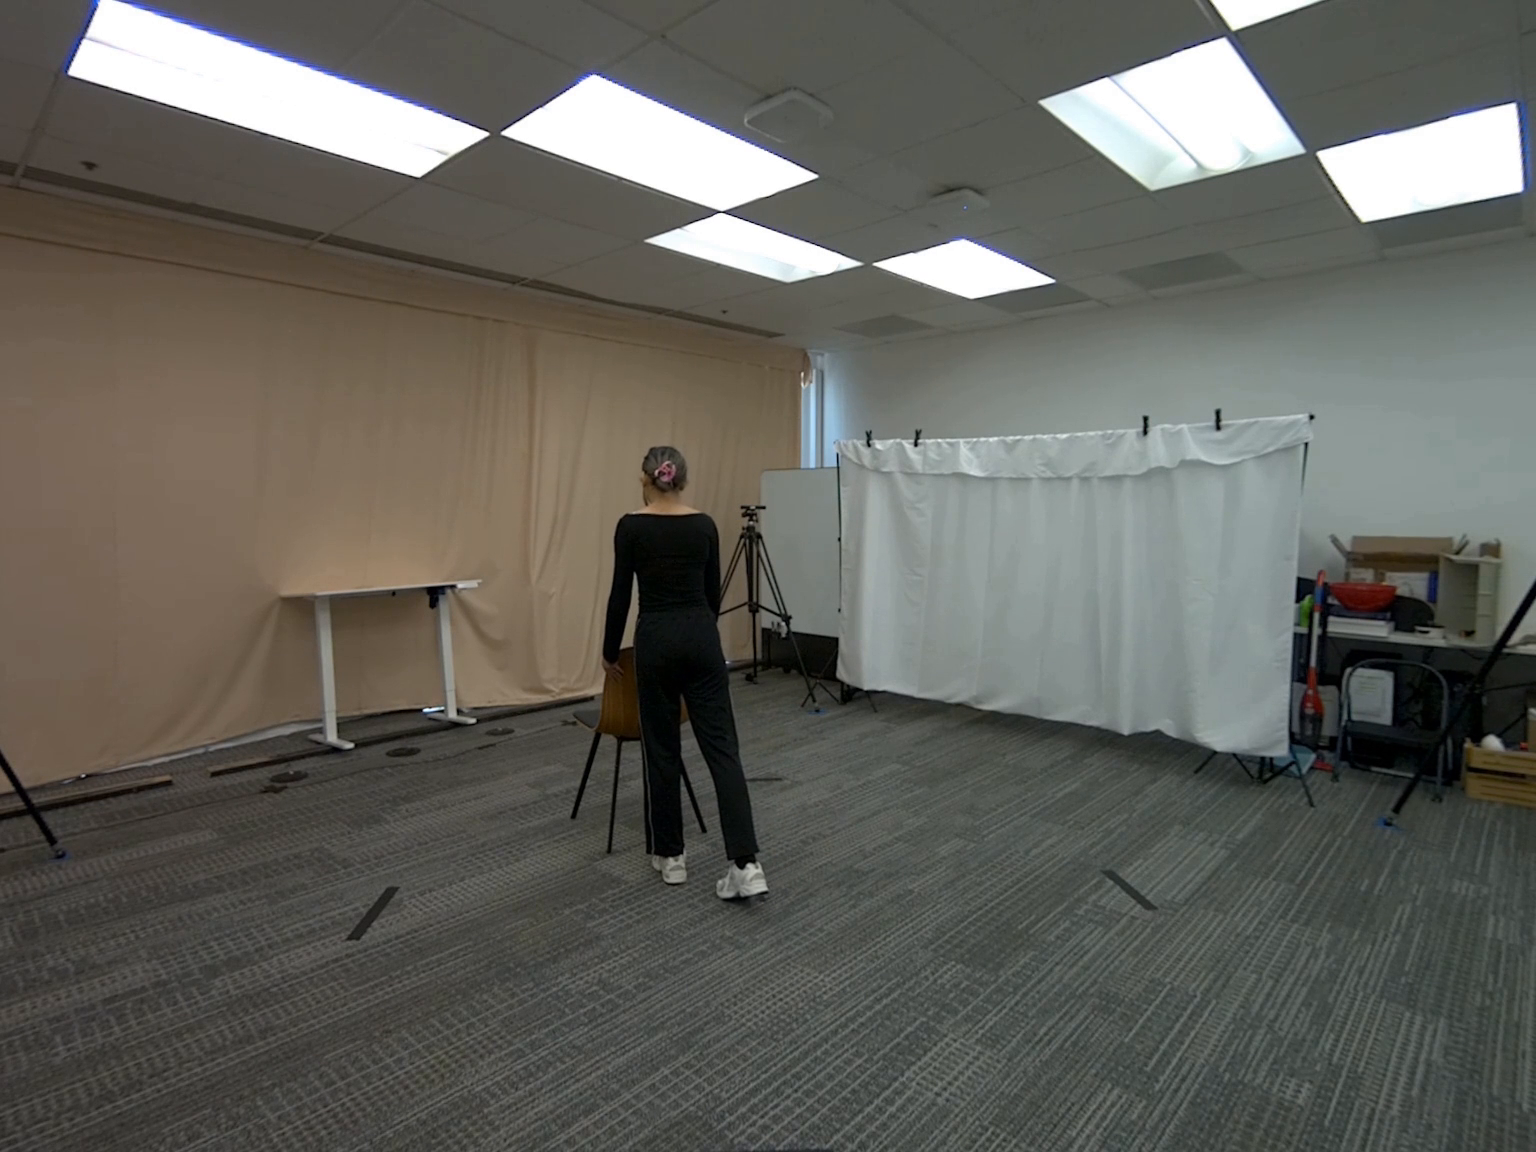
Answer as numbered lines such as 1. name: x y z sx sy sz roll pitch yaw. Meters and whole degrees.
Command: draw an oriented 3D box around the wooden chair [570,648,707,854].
1. wooden chair: -0.583 0.664 3.662 0.465 0.874 0.539 -2 8 -30
